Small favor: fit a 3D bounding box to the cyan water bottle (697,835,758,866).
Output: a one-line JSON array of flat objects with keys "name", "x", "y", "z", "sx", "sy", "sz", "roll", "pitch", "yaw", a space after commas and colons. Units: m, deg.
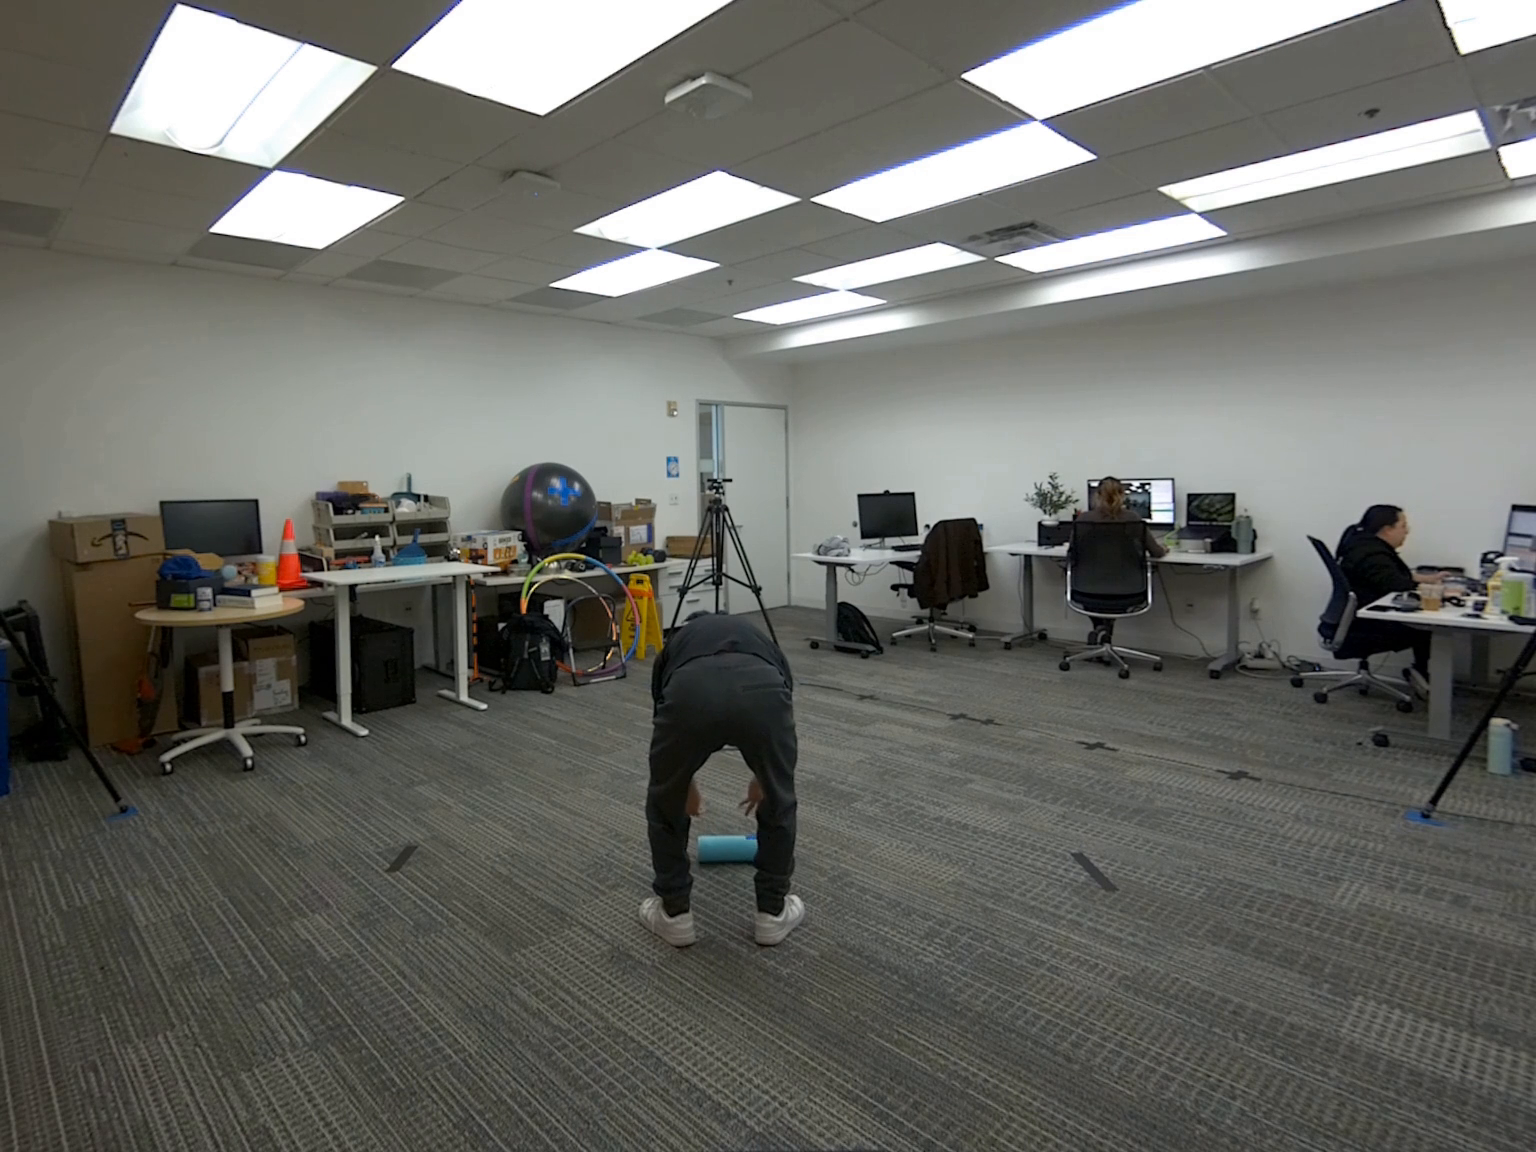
[{"name": "cyan water bottle", "x": -0.118, "y": 0.997, "z": 3.133, "sx": 0.283, "sy": 0.092, "sz": 0.093, "roll": 0, "pitch": 5, "yaw": -2}]
